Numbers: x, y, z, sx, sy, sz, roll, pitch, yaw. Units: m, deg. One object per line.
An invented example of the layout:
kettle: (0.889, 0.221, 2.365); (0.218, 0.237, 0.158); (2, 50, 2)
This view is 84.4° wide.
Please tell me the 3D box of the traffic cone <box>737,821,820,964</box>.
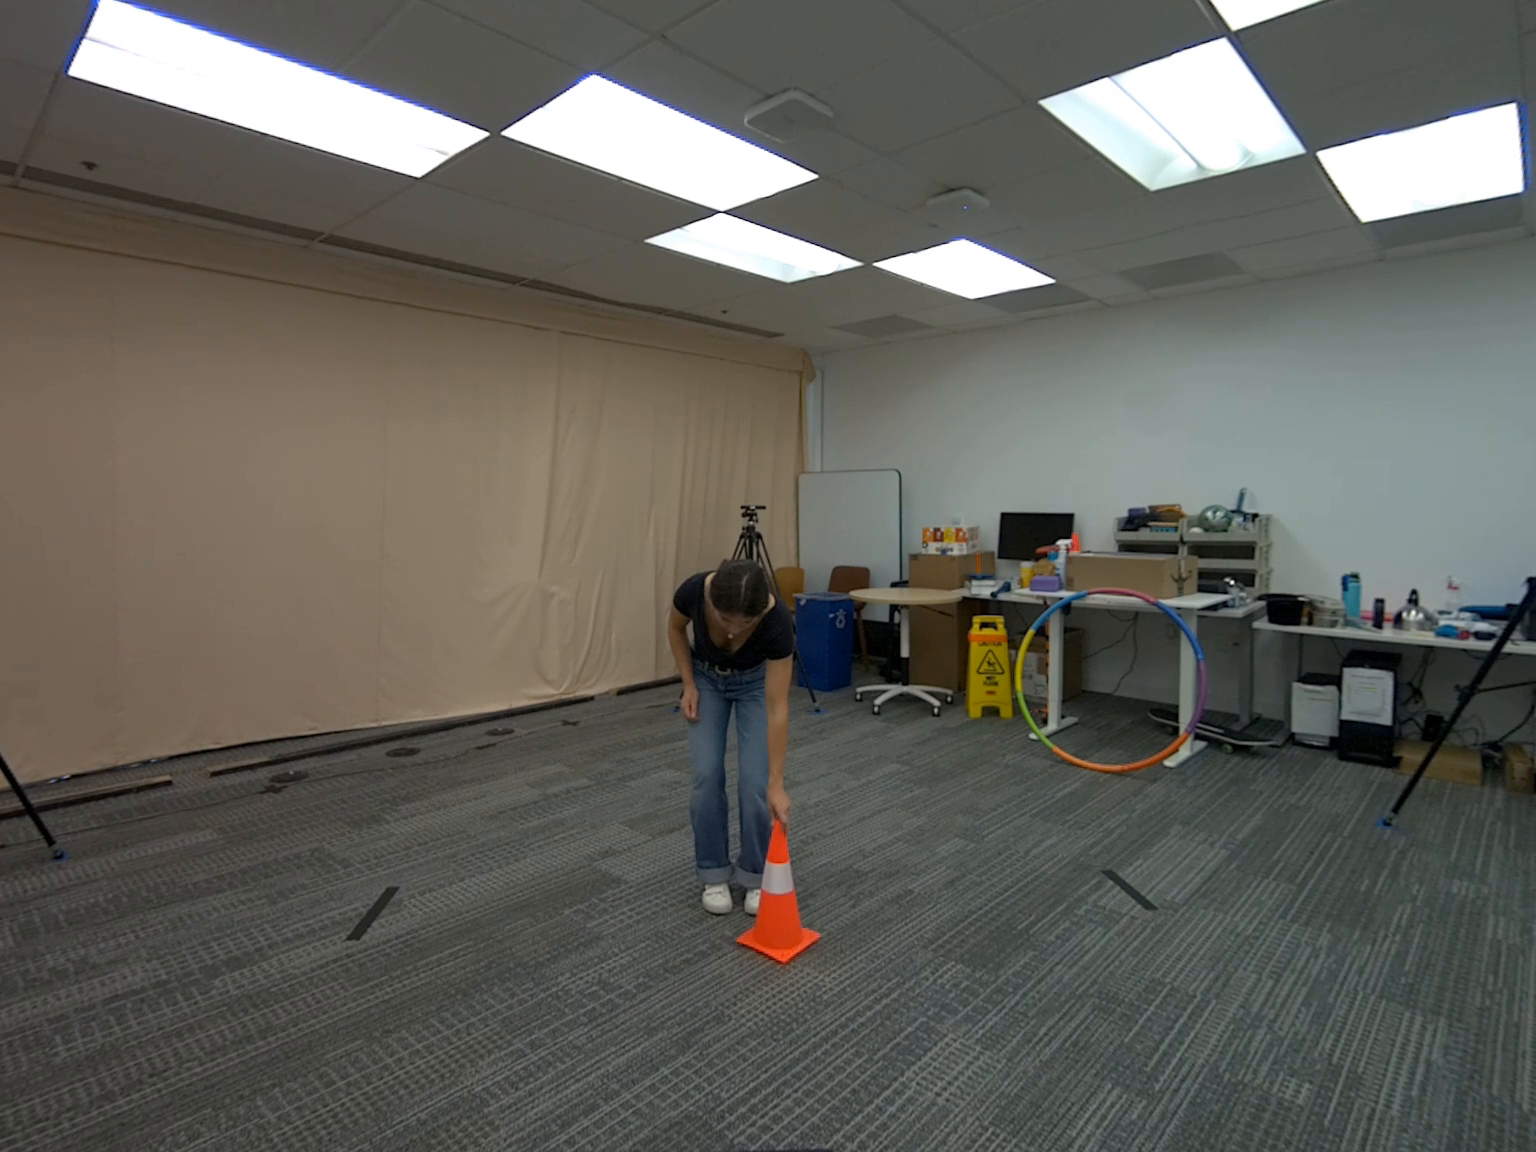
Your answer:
traffic cone: (0.043, 0.963, 2.673); (0.210, 0.383, 0.199); (3, 4, 42)
